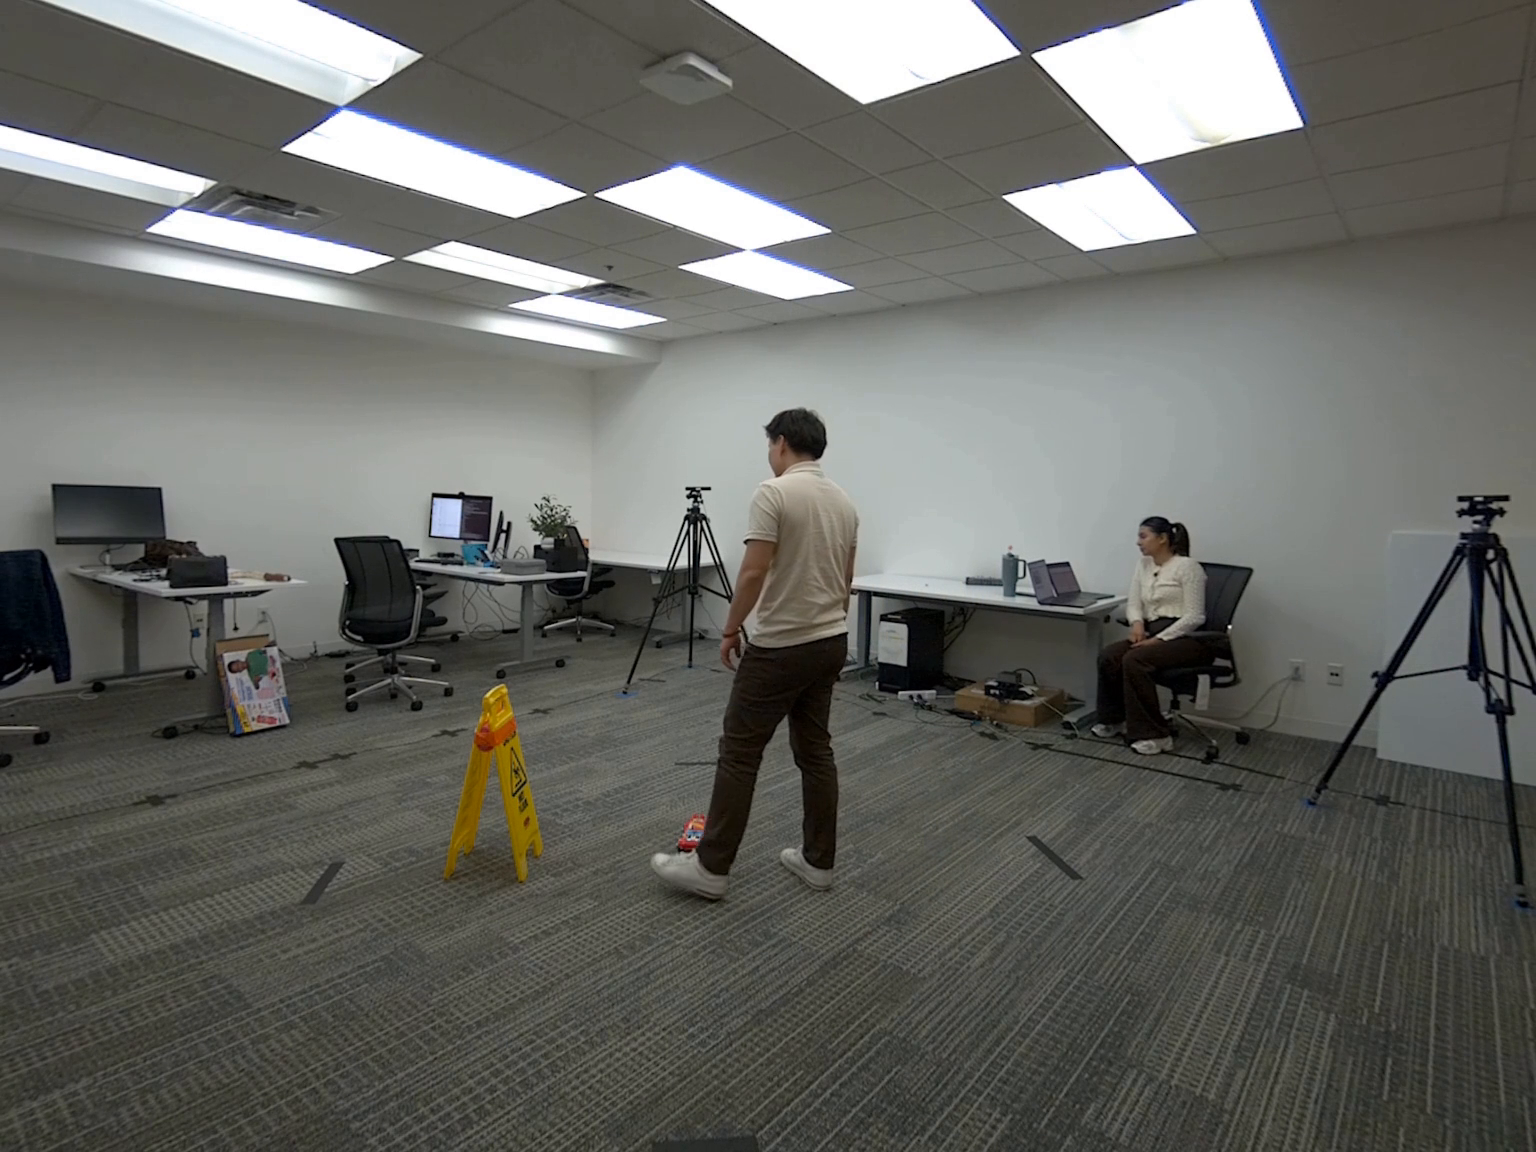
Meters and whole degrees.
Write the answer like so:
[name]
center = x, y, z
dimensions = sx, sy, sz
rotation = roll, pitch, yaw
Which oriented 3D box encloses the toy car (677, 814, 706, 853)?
[toy car]
center = -0.283, 1.008, 3.335
dimensions = 0.131, 0.082, 0.257
rotation = 0, 17, 5
